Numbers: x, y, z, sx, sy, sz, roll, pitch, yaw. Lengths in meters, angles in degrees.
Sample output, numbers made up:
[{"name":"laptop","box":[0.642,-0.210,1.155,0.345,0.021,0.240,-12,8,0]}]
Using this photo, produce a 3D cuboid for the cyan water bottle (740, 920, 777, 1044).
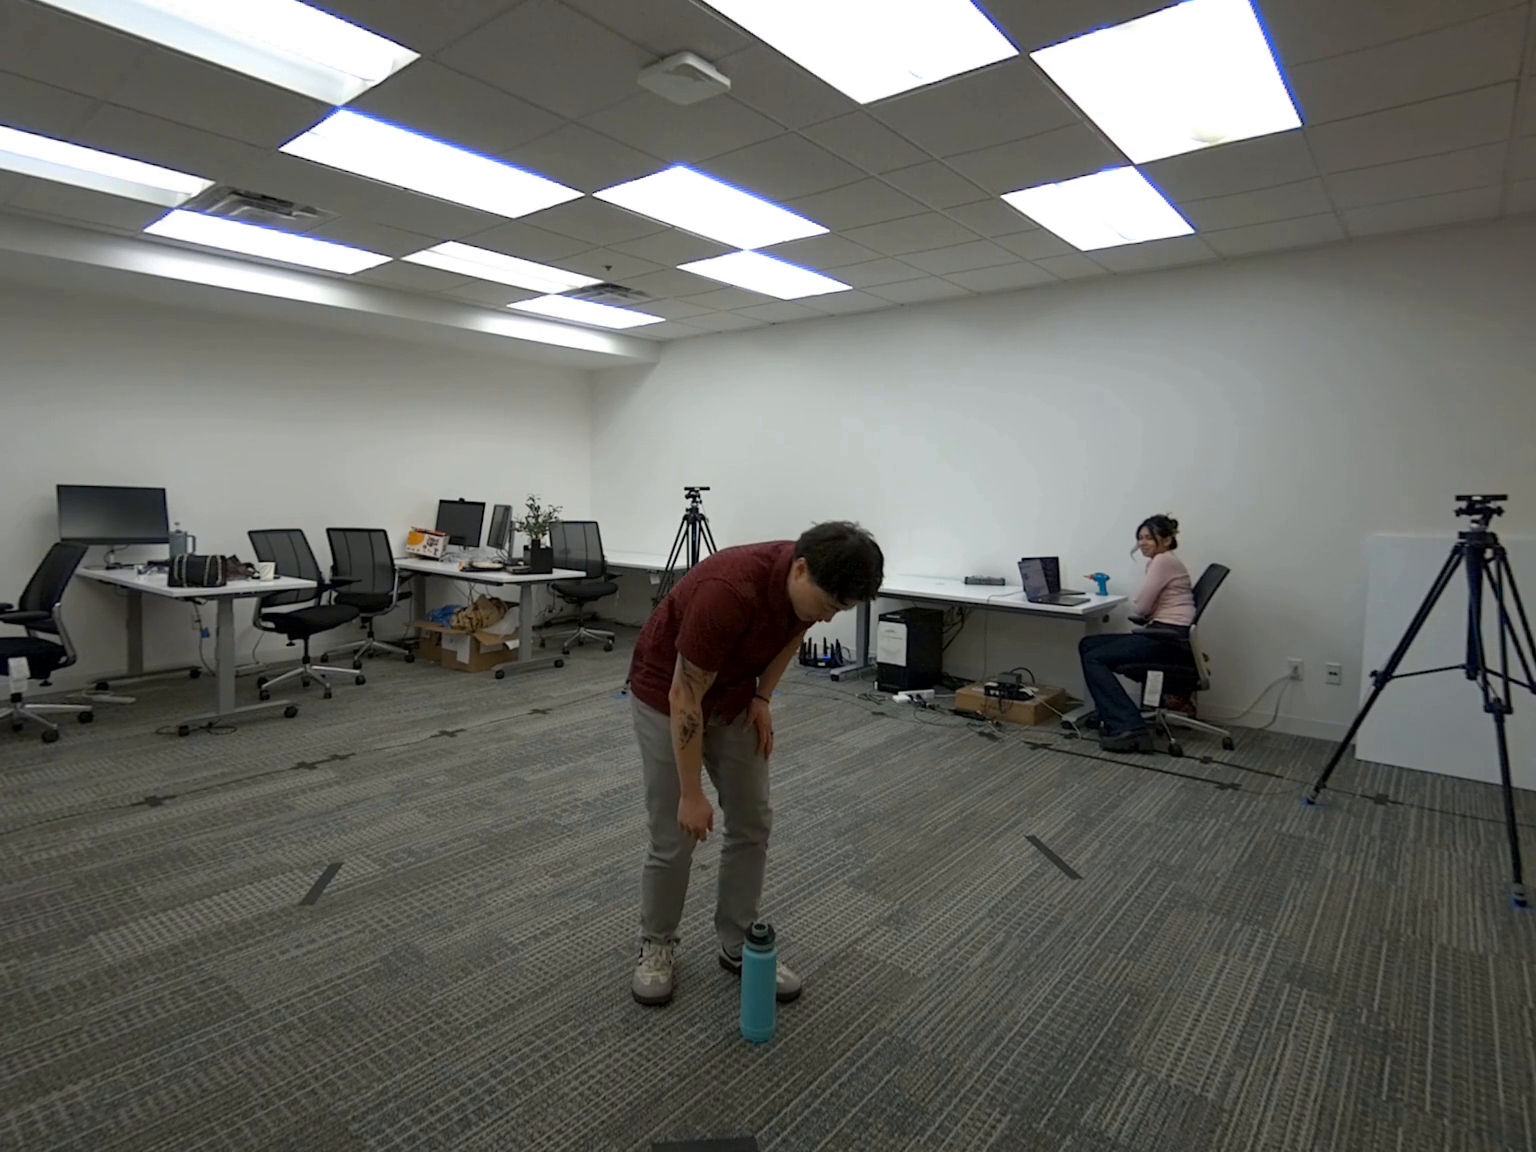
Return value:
[{"name":"cyan water bottle","box":[-0.029,1.024,2.175,0.092,0.283,0.092,0,2,-2]}]
